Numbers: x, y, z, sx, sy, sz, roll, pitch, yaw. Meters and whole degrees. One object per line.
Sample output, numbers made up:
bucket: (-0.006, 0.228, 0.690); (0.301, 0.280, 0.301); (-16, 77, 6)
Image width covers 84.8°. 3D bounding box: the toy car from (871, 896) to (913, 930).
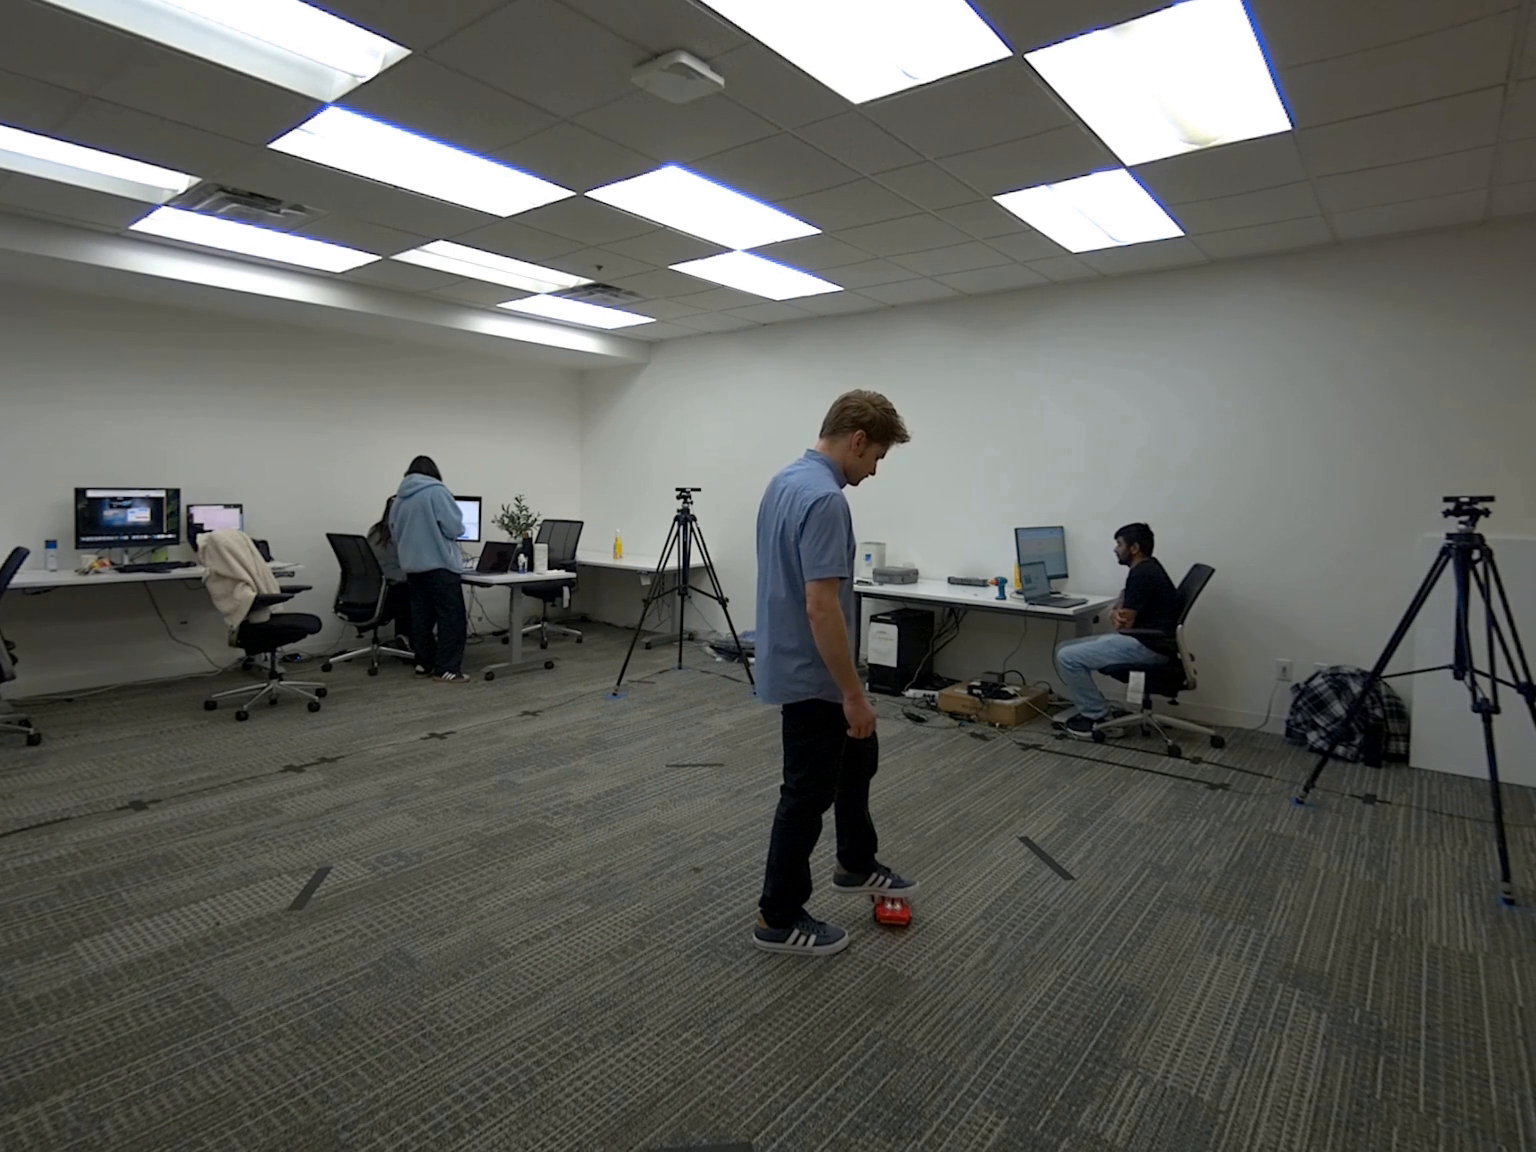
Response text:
toy car: (0.401, 1.083, 2.801); (0.131, 0.084, 0.251); (3, -6, 4)
